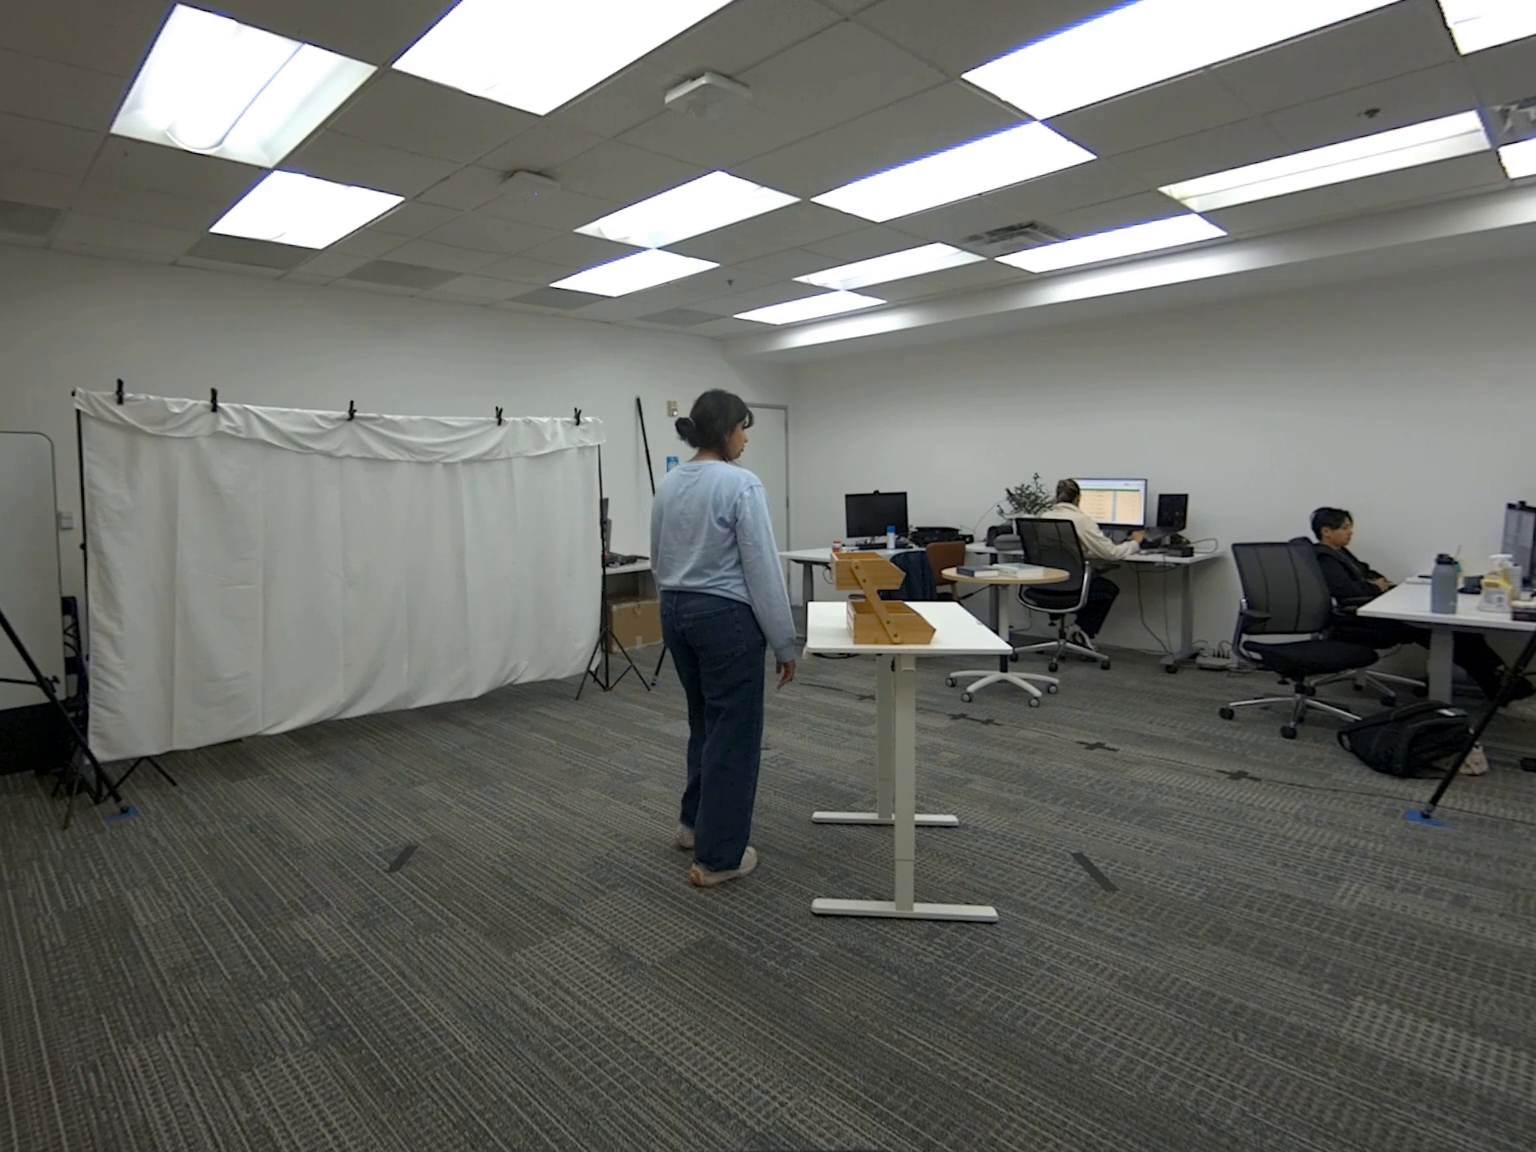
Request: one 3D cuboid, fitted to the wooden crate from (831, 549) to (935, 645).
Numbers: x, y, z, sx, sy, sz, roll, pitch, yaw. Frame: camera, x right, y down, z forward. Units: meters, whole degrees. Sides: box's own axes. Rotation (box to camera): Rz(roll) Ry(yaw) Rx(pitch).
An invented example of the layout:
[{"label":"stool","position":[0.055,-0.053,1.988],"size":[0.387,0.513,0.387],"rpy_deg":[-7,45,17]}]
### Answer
[{"label":"wooden crate","position":[0.370,0.060,2.741],"size":[0.303,0.272,0.324],"rpy_deg":[-2,5,3]}]
